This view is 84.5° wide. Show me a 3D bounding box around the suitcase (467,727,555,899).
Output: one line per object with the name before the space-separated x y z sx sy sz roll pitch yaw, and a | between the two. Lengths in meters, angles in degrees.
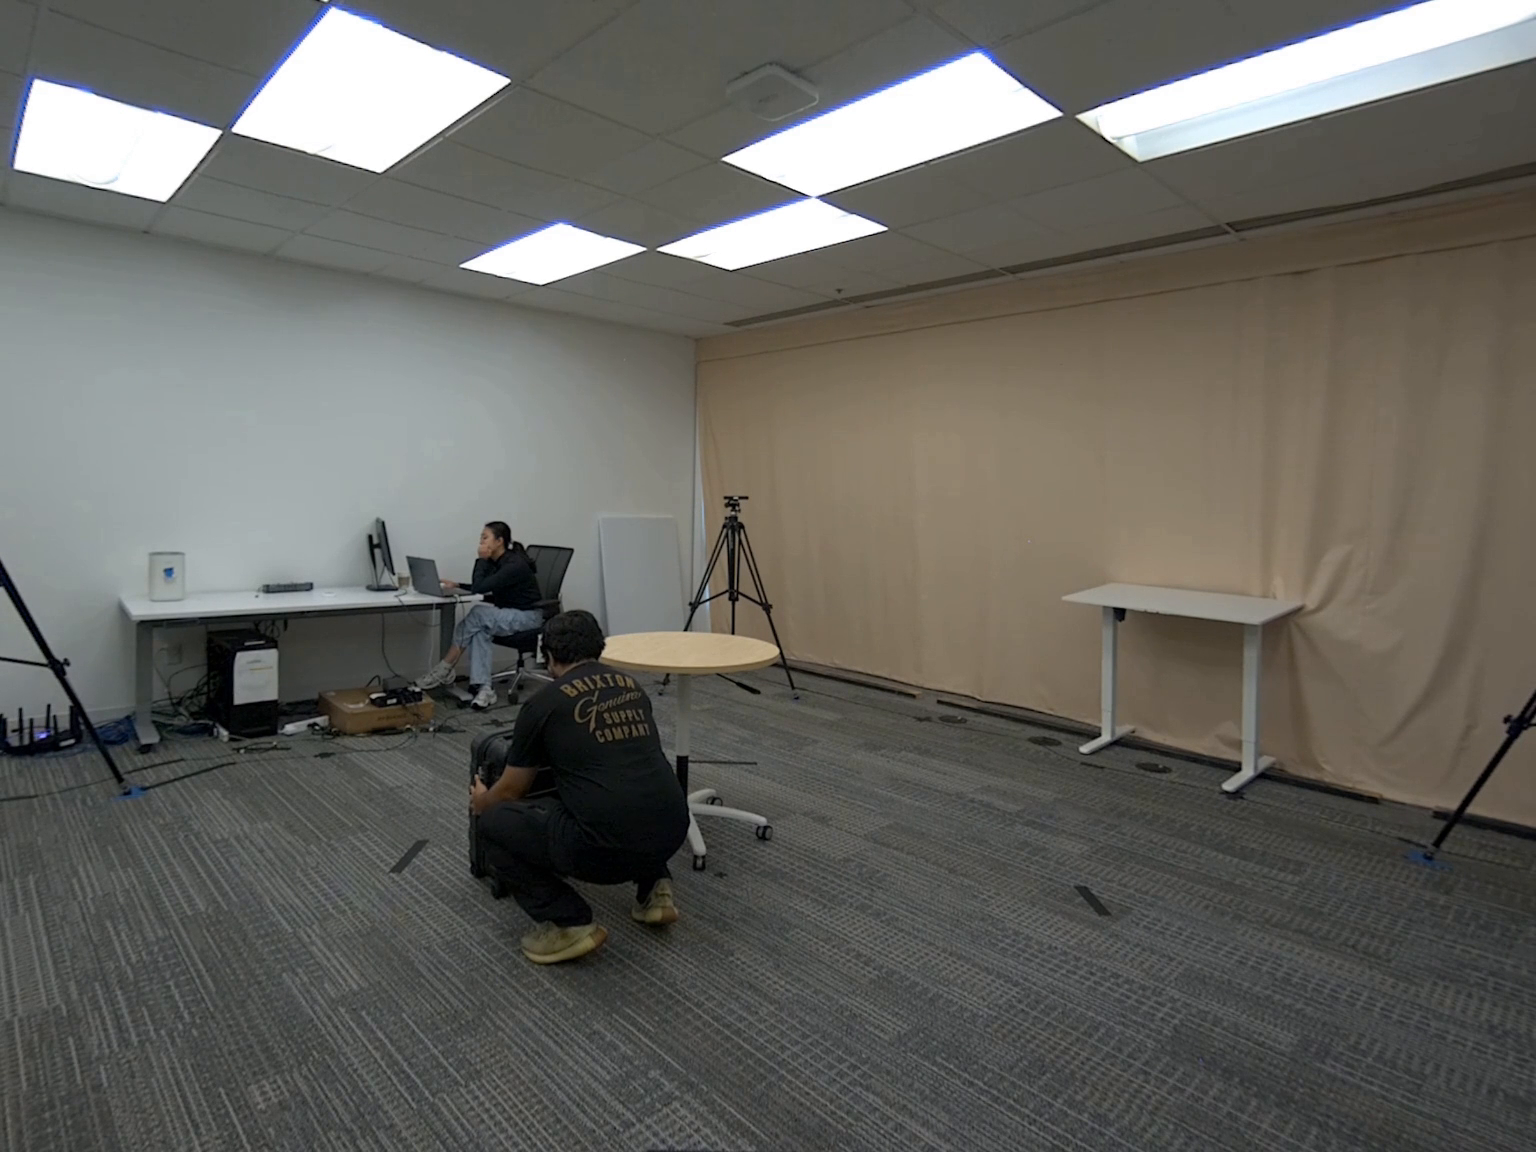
suitcase | -0.877 0.824 3.034 0.254 0.548 0.367 3 5 44
